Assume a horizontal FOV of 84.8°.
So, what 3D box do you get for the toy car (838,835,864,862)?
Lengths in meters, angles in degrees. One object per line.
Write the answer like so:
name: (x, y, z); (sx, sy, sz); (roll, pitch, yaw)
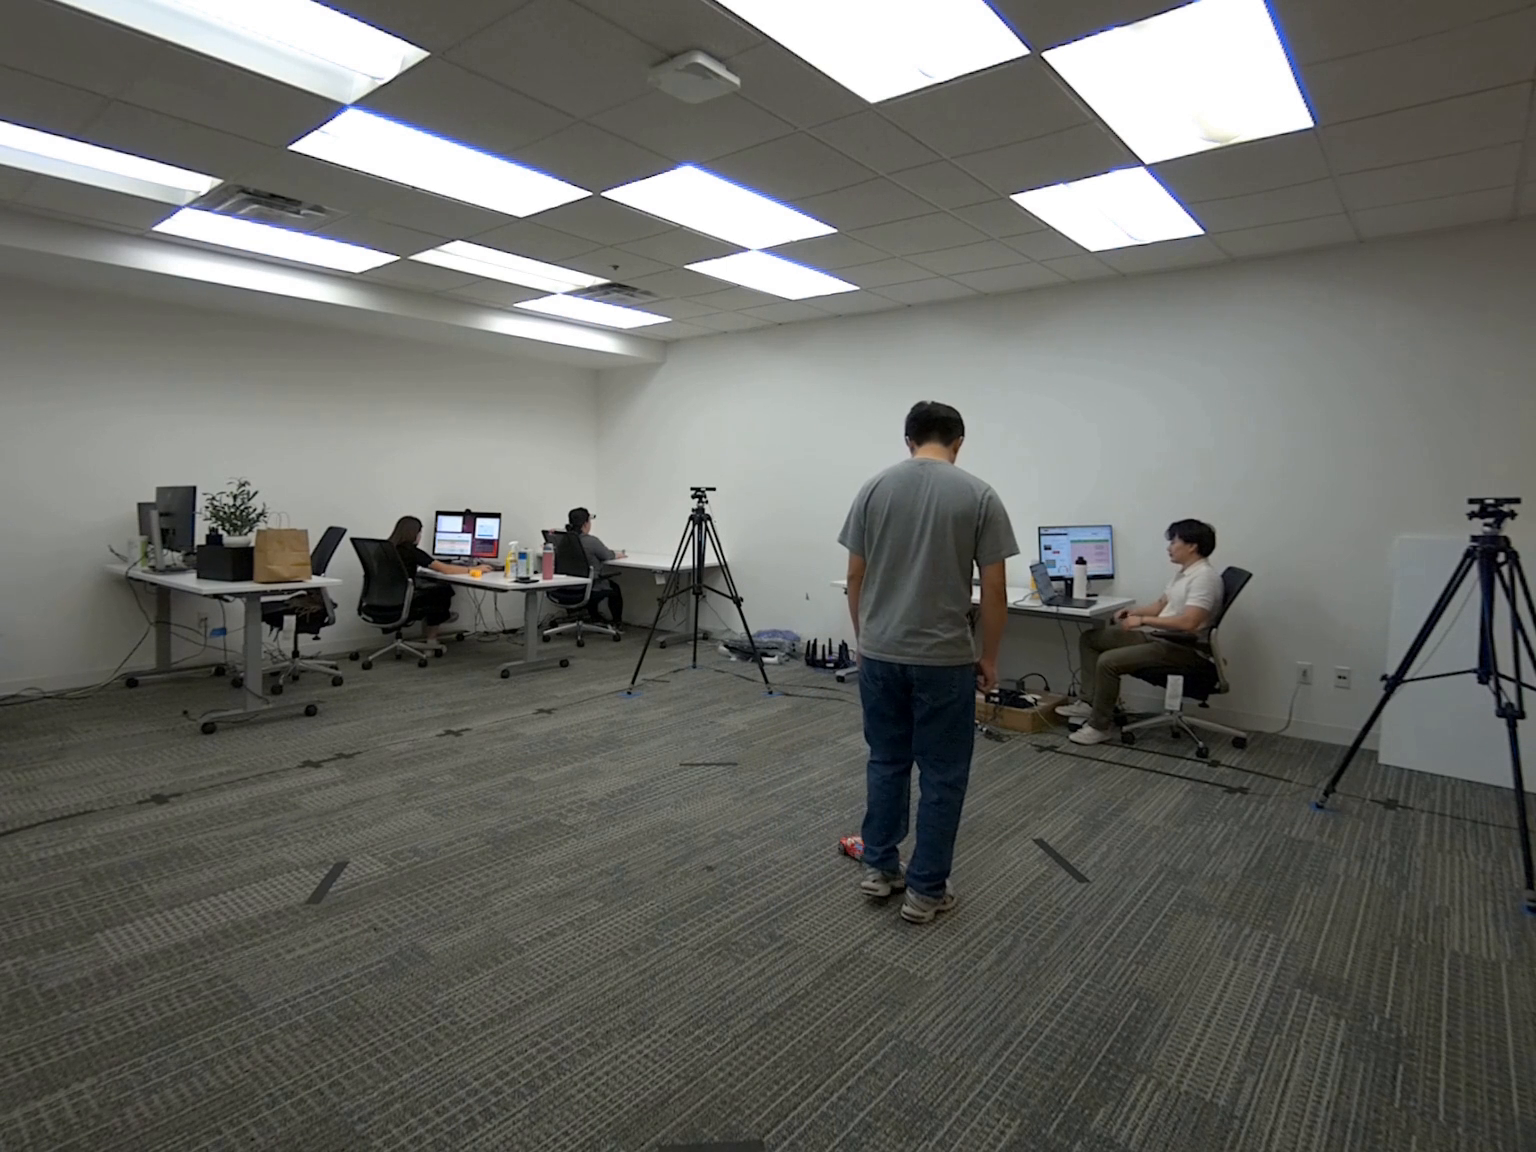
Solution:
toy car: (0.369, 1.035, 3.199); (0.127, 0.084, 0.260); (-1, -5, -30)
